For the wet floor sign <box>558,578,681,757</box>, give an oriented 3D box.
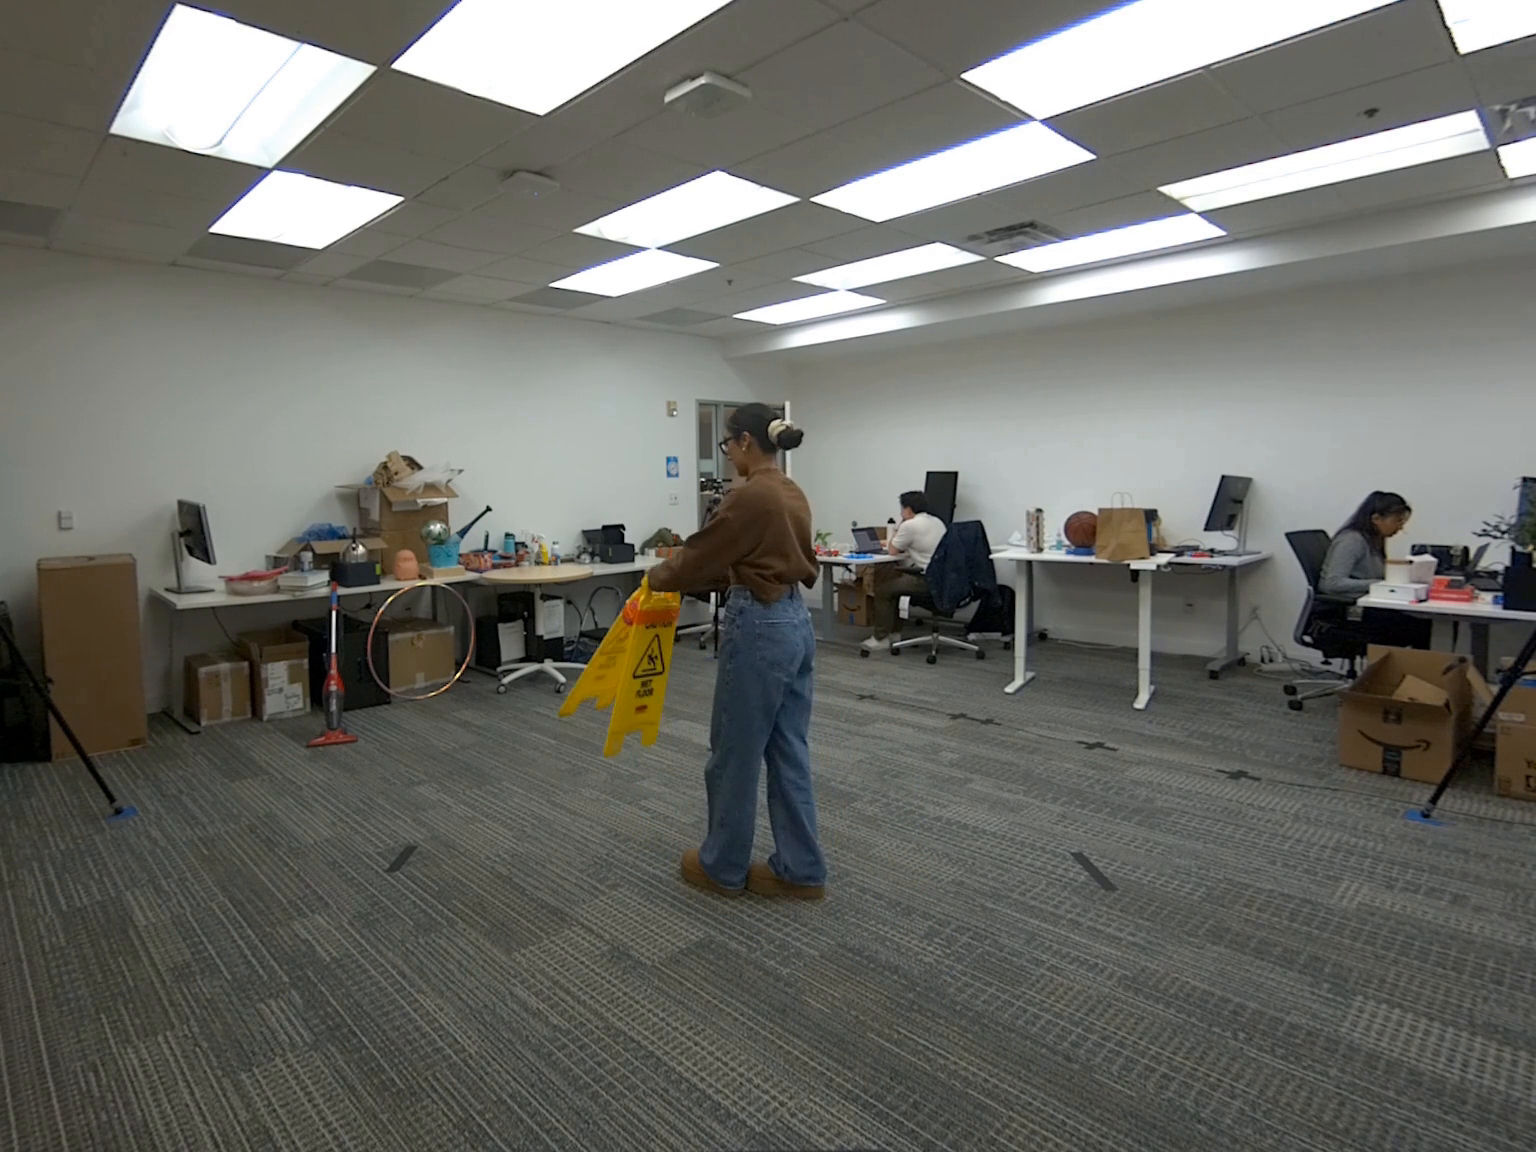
[{"bbox_3d":[-0.476,0.279,3.102,0.300,0.642,0.274,28,13,30],"label":"wet floor sign"}]
